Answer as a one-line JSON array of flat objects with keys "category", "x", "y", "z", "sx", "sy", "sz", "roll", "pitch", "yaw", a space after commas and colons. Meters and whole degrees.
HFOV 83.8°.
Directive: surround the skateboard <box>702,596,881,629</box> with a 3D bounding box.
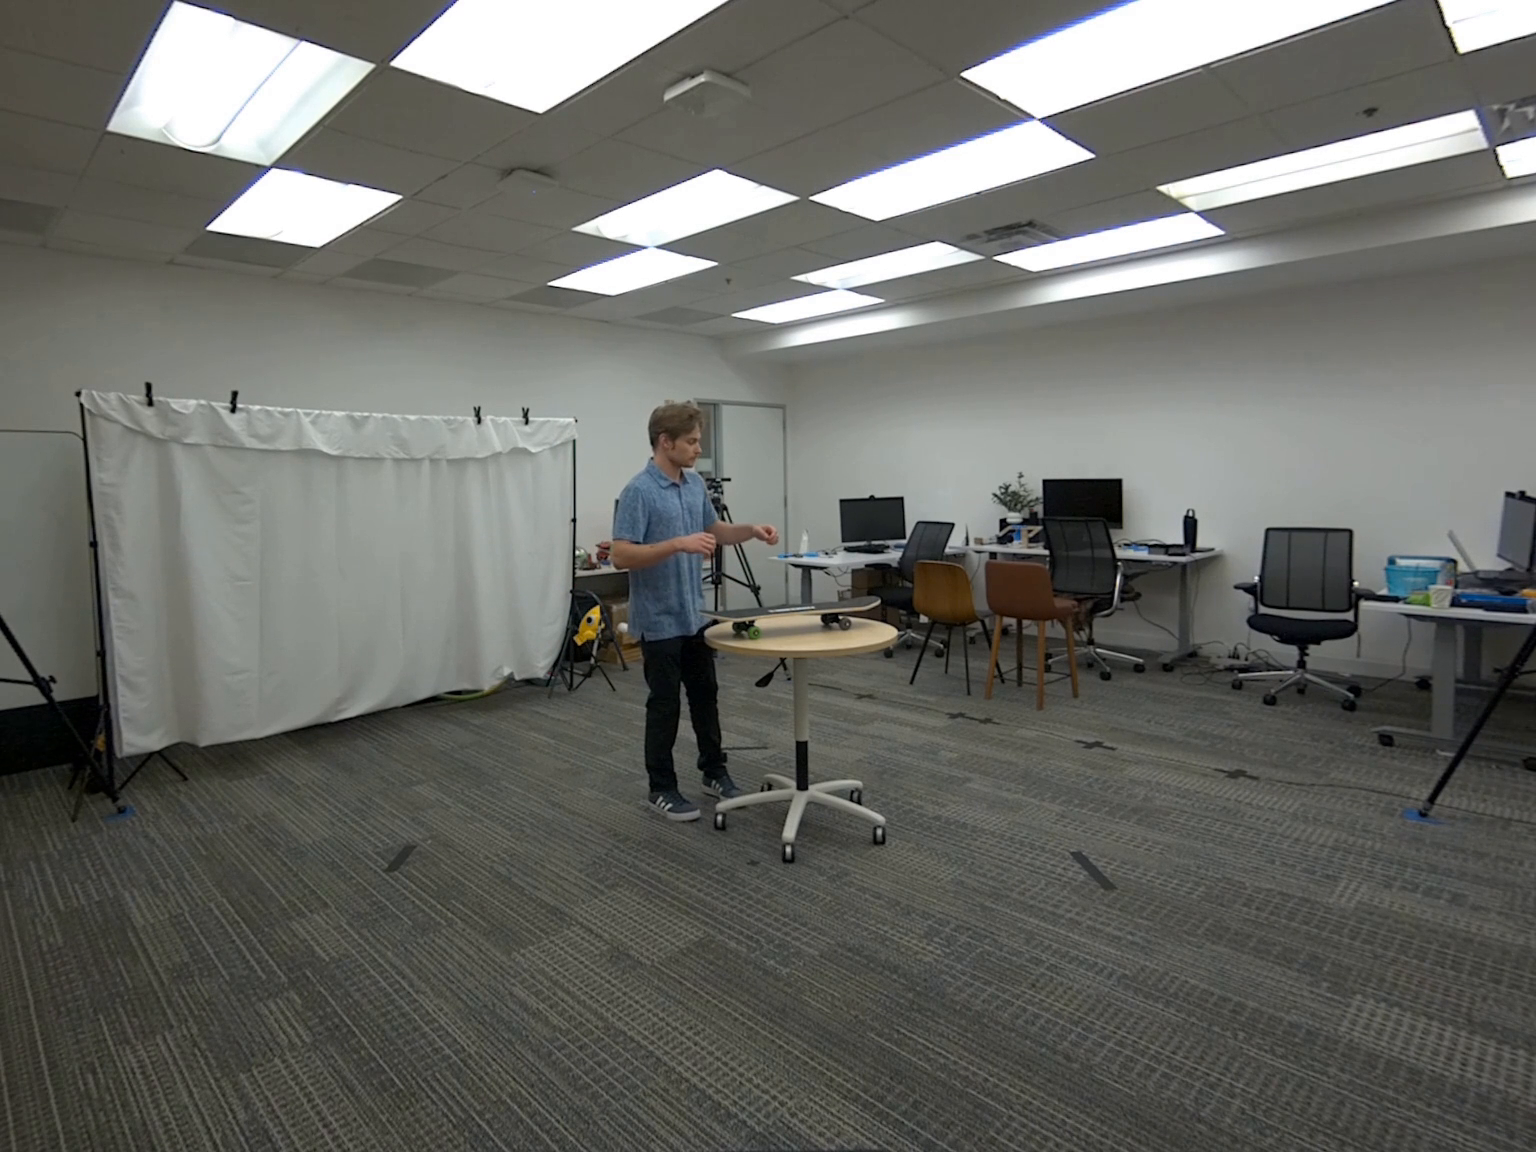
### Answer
[{"category": "skateboard", "x": 0.094, "y": 0.167, "z": 3.398, "sx": 0.771, "sy": 0.110, "sz": 0.198, "roll": -4, "pitch": 5, "yaw": -21}]
